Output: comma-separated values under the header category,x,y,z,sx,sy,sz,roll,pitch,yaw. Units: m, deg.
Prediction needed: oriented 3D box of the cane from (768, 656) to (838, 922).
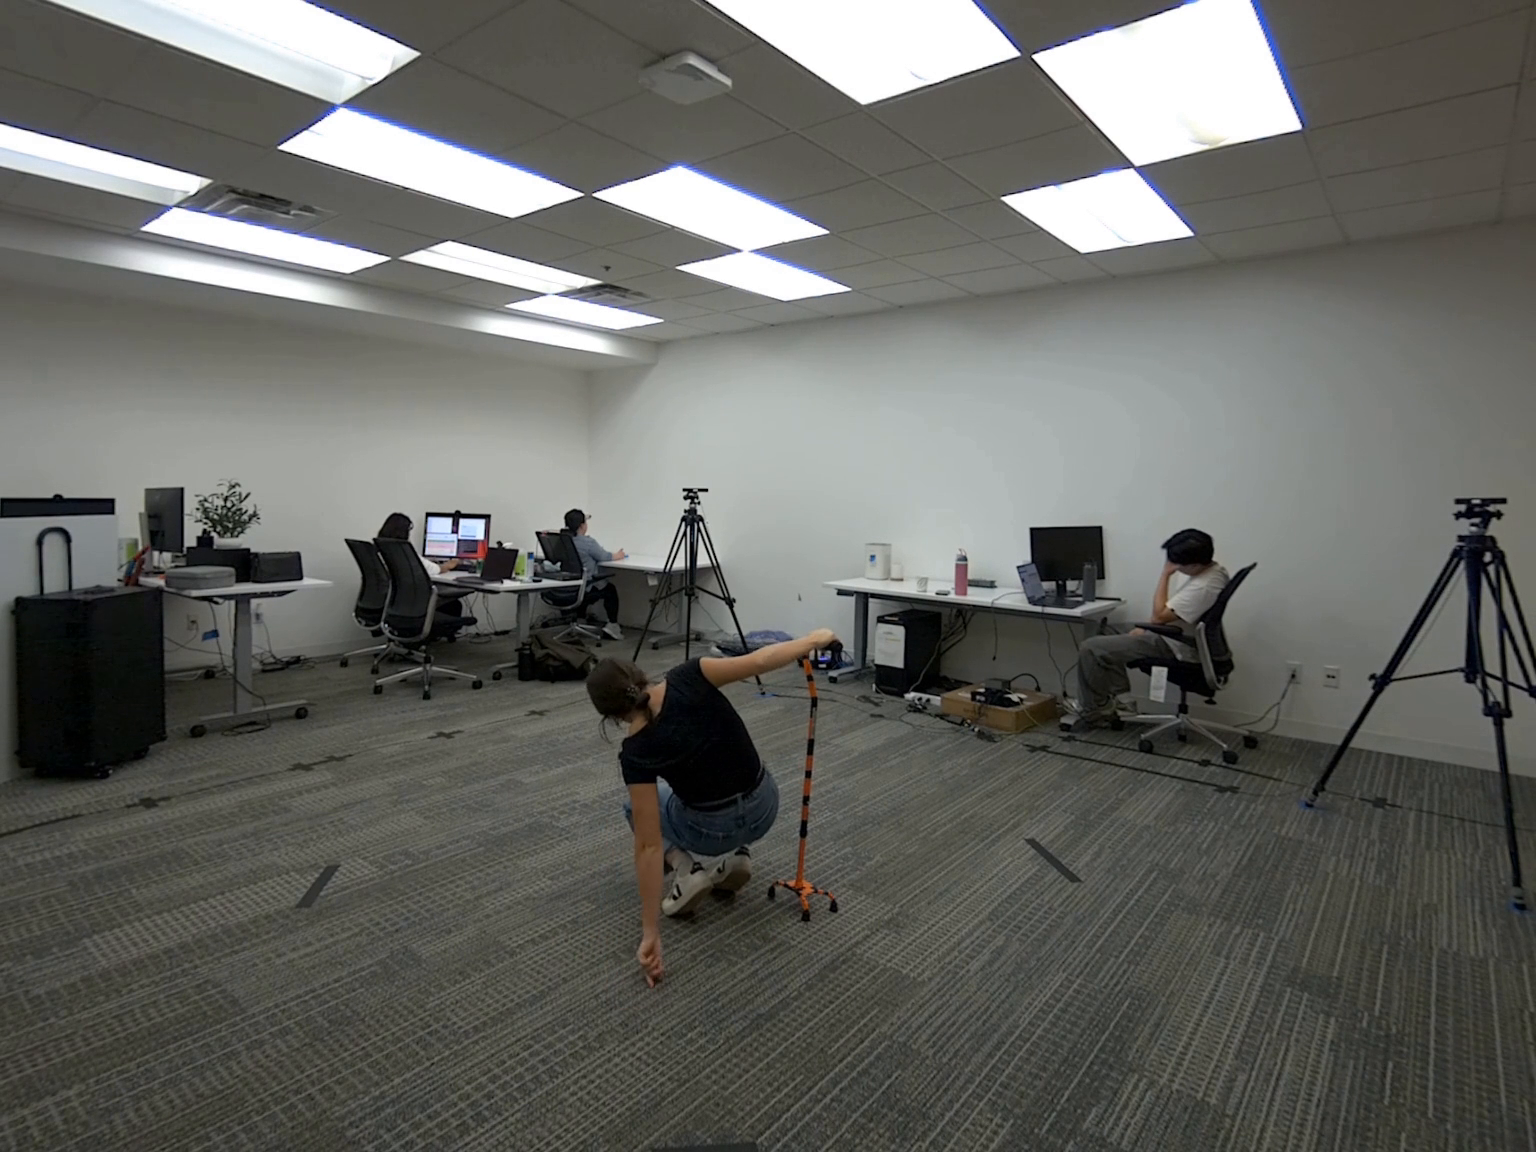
category,x,y,z,sx,sy,sz,roll,pitch,yaw
cane,0.146,0.651,2.832,0.147,0.905,0.213,1,4,-39
